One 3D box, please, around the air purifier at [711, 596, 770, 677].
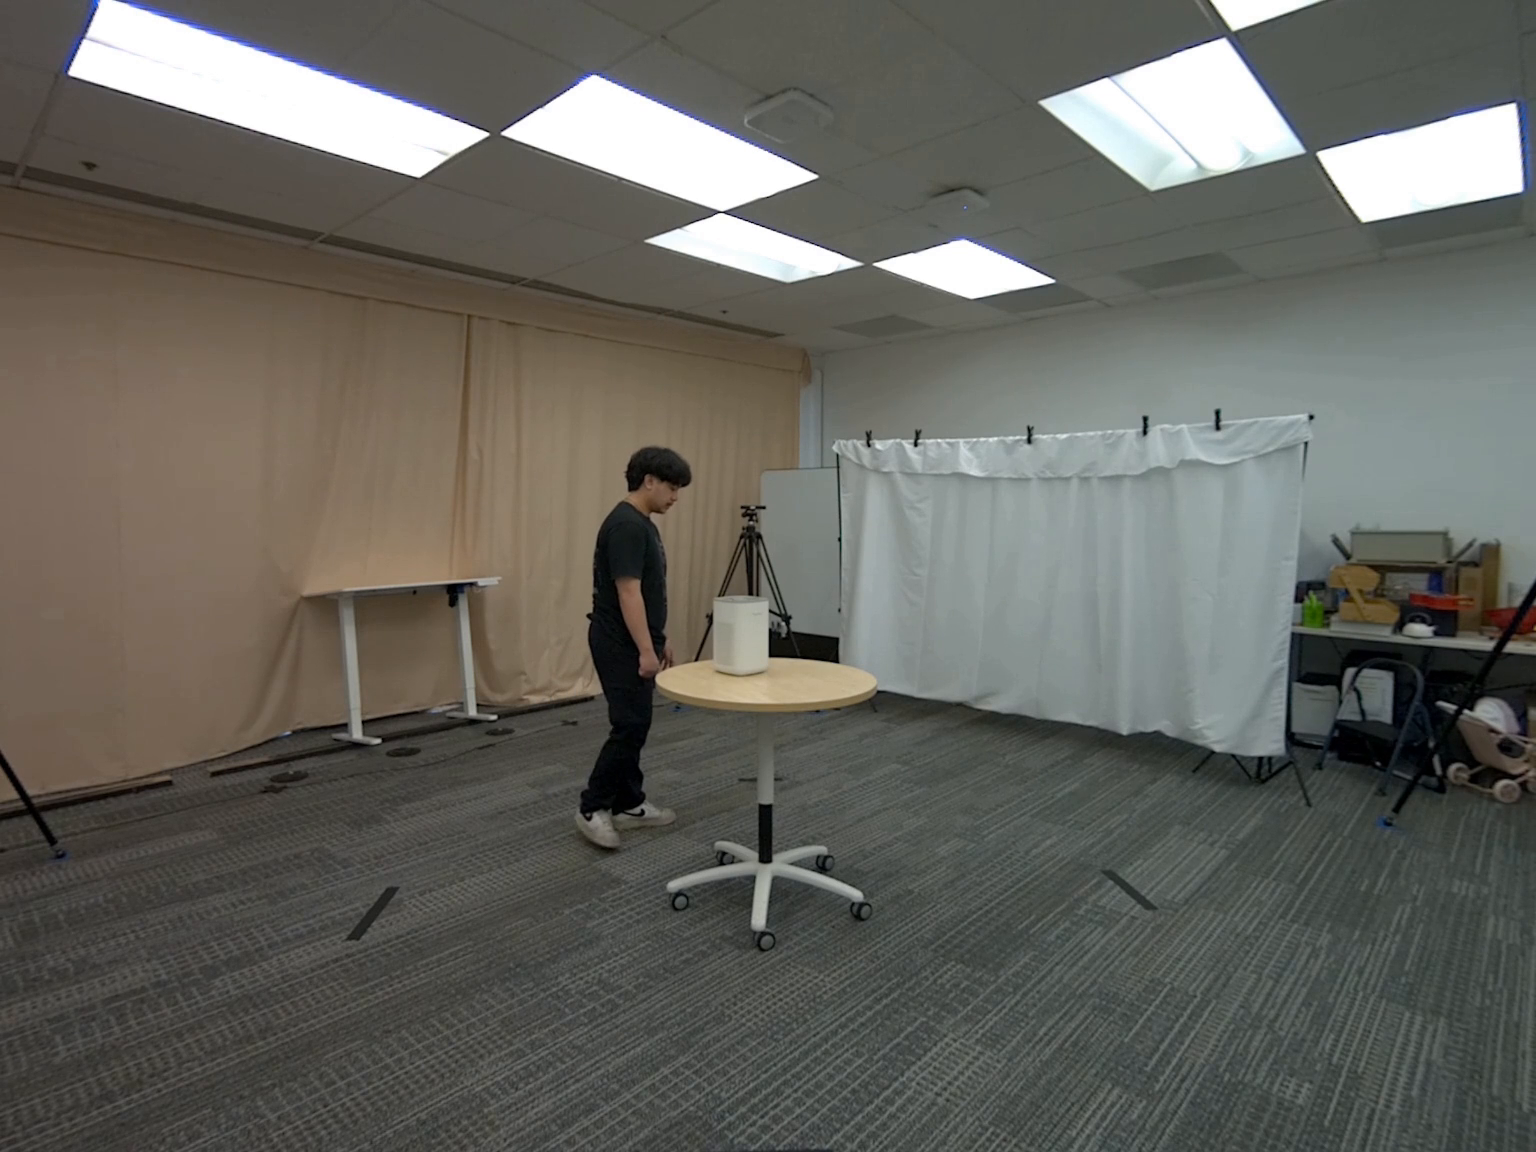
[{"bbox_3d":[-0.095,0.210,3.029,0.177,0.265,0.166,4,6,45],"label":"air purifier"}]
